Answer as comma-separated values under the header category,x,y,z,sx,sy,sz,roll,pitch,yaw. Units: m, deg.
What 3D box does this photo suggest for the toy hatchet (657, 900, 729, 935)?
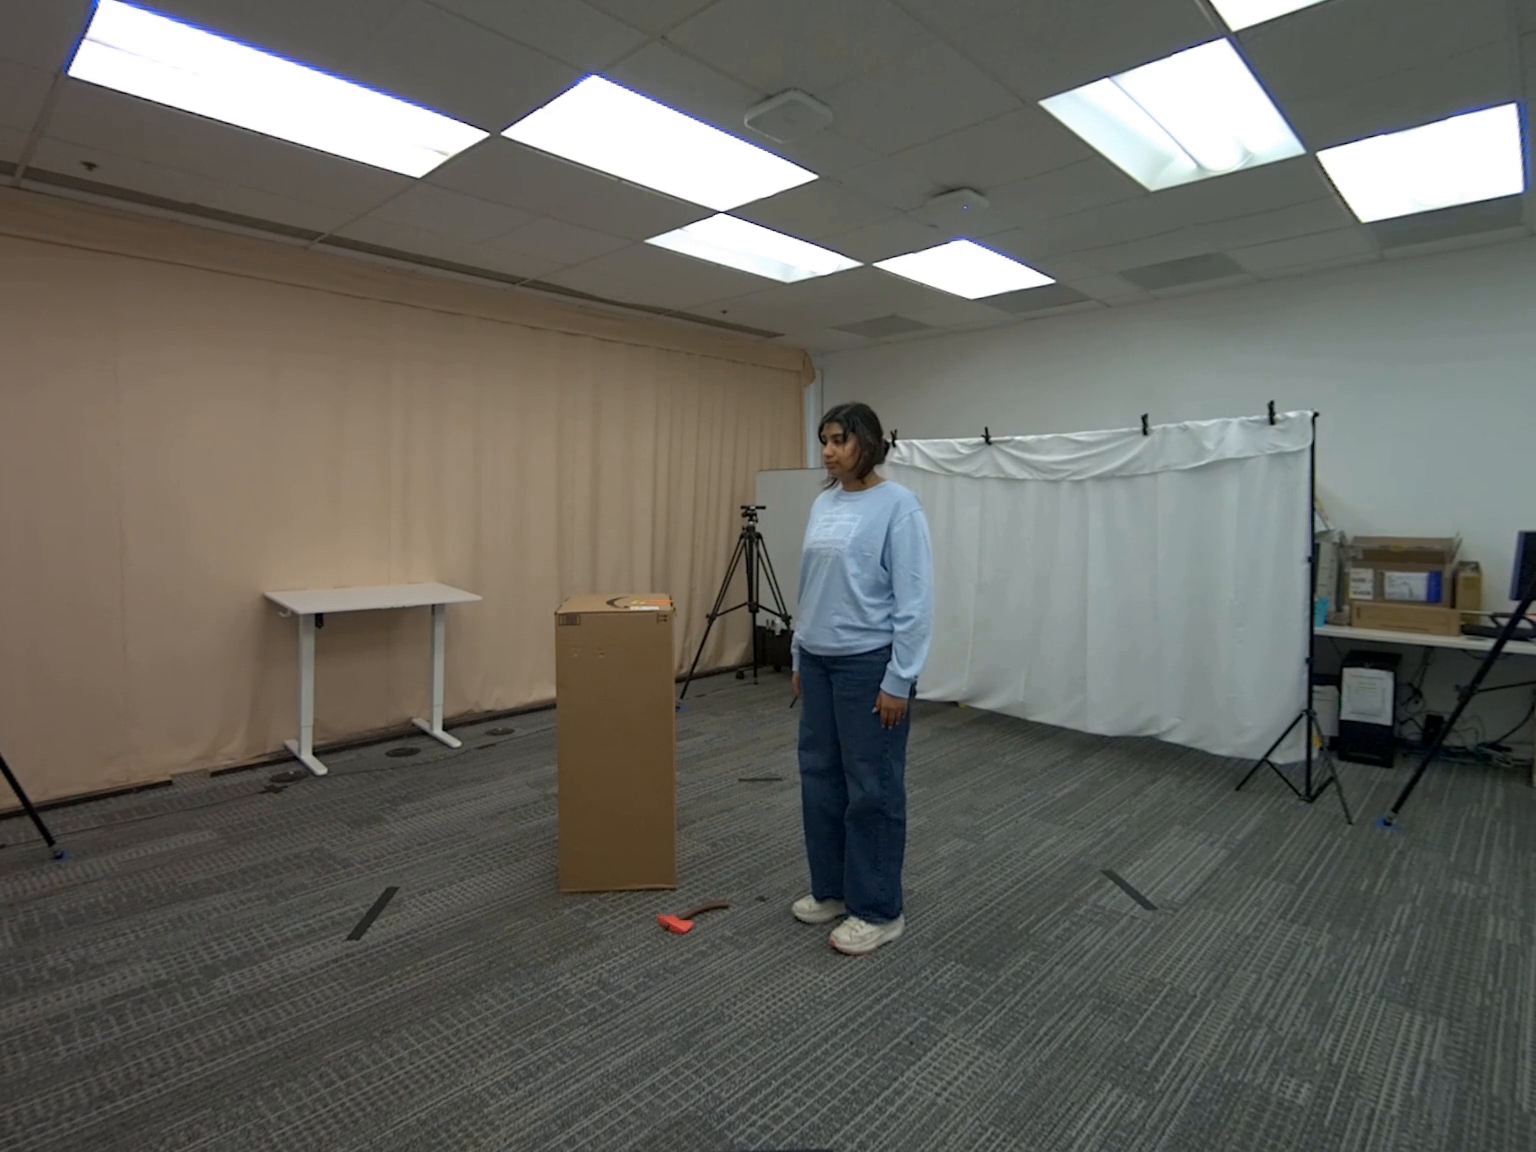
category,x,y,z,sx,sy,sz,roll,pitch,yaw
toy hatchet,-0.229,1.150,2.827,0.263,0.029,0.135,0,5,-29
